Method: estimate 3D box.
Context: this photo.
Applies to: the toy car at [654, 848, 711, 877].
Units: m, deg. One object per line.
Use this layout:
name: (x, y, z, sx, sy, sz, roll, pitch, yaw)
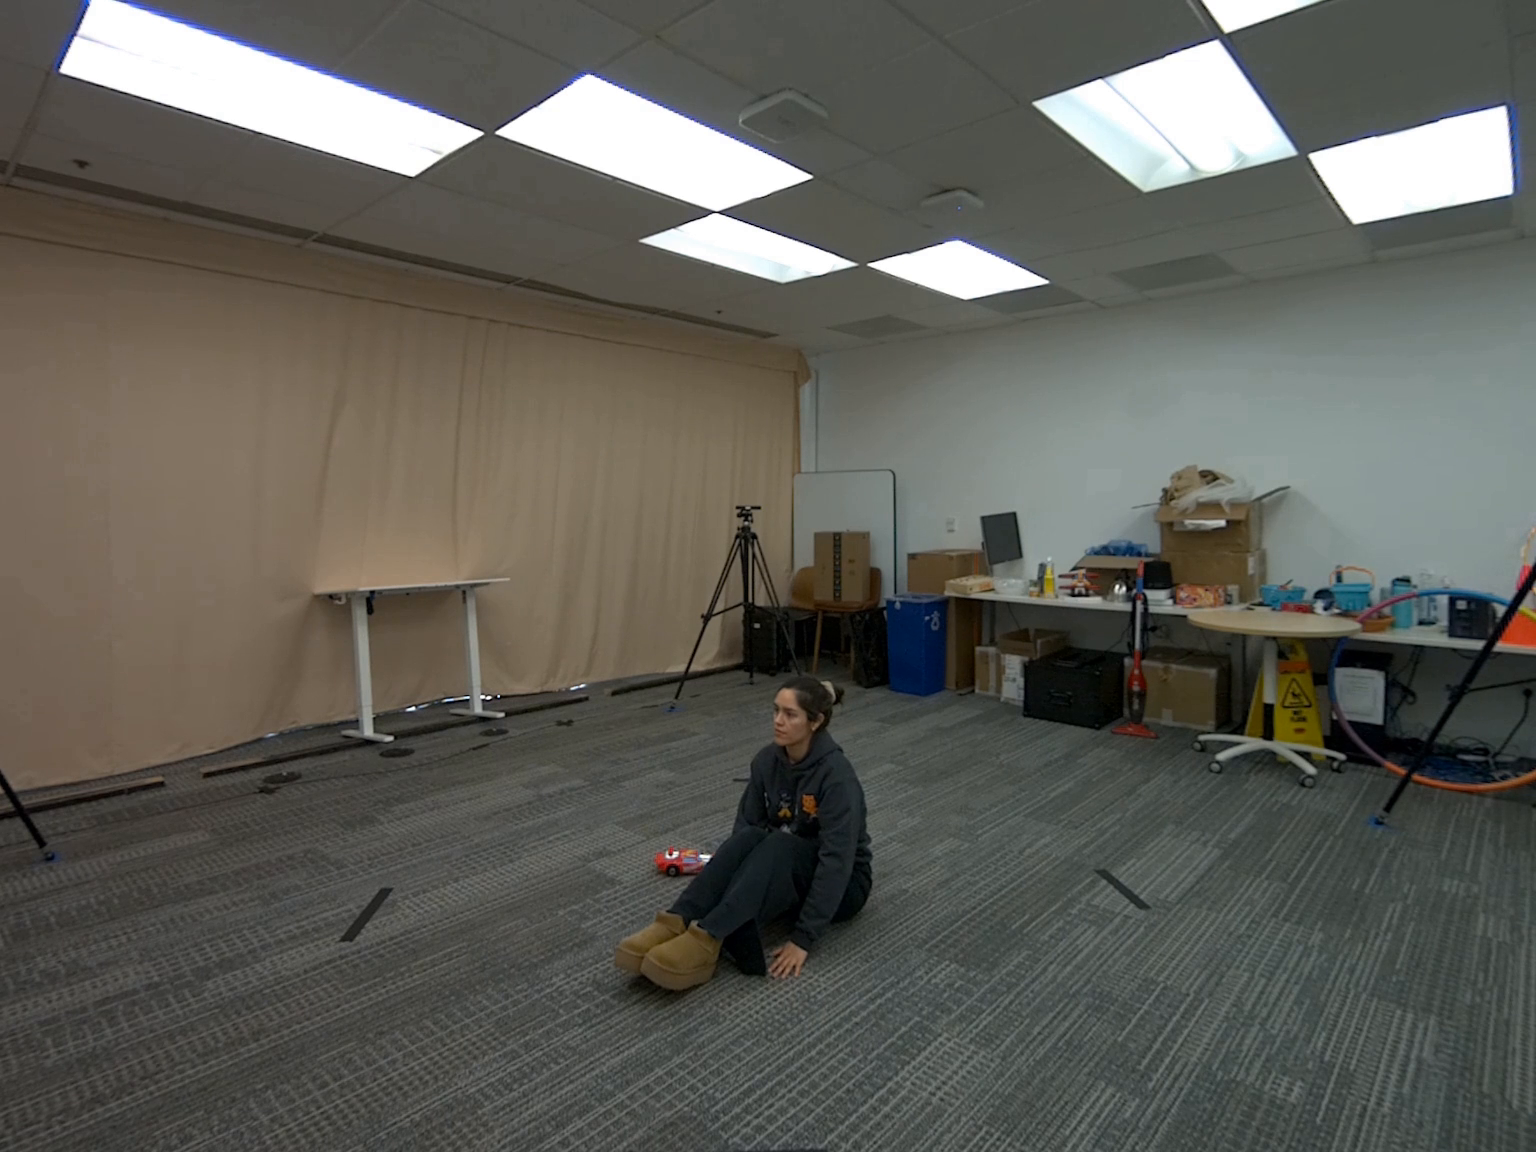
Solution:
toy car: (-0.288, 1.095, 3.215, 0.255, 0.083, 0.130, 11, 5, 1)
